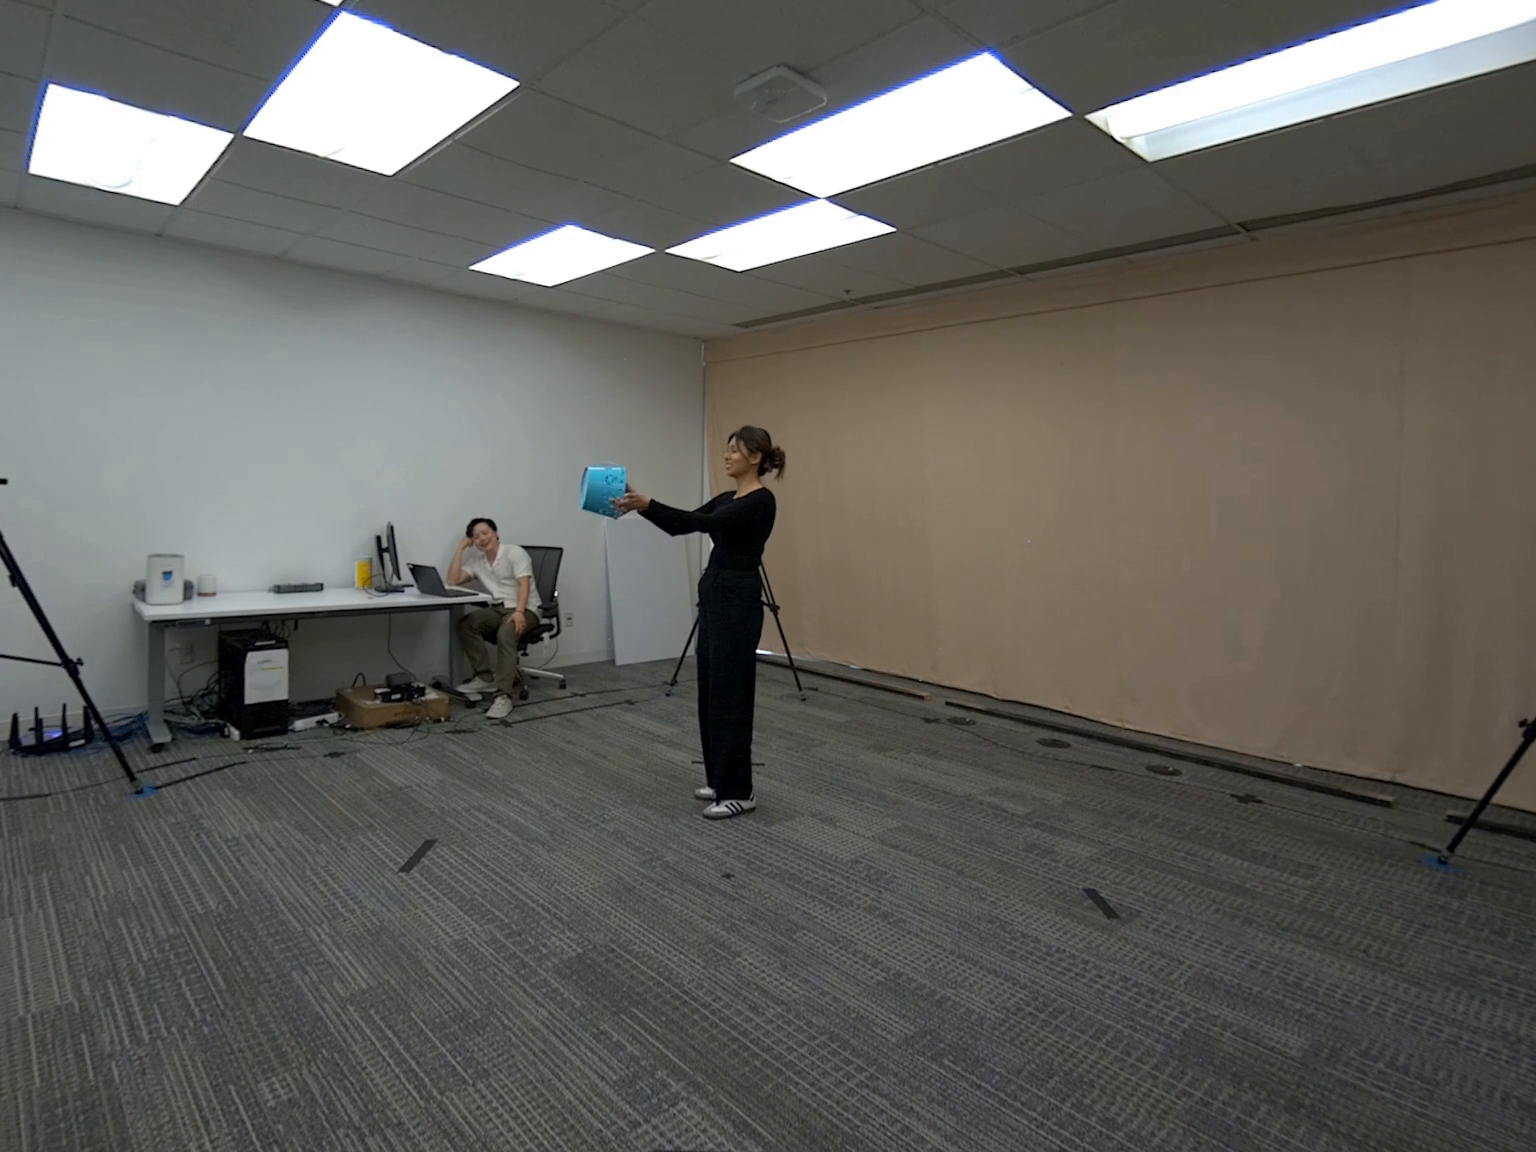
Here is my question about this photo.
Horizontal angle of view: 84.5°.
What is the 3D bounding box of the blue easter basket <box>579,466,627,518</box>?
[{"bbox_3d":[-0.711,-0.353,3.561,0.153,0.243,0.248,7,2,-22],"label":"blue easter basket"}]
